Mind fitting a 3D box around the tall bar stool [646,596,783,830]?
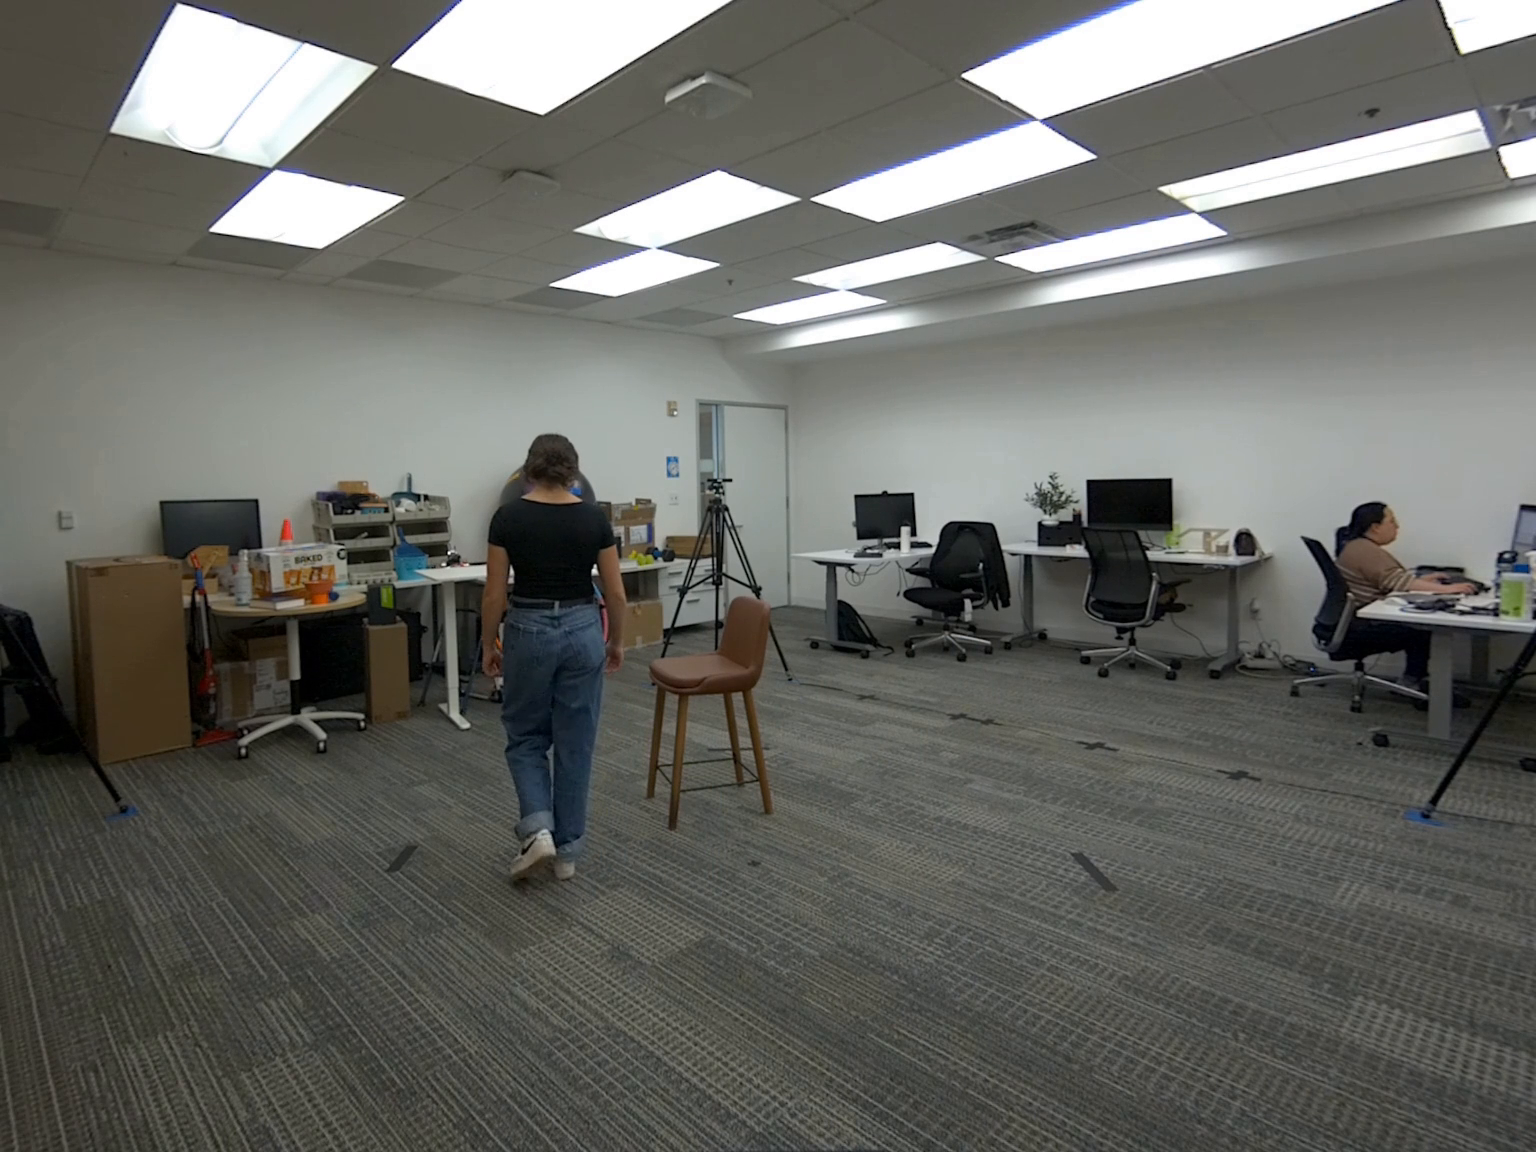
[{"bbox_3d":[-0.254,0.552,3.651,0.459,0.887,0.466,-1,3,-21],"label":"tall bar stool"}]
